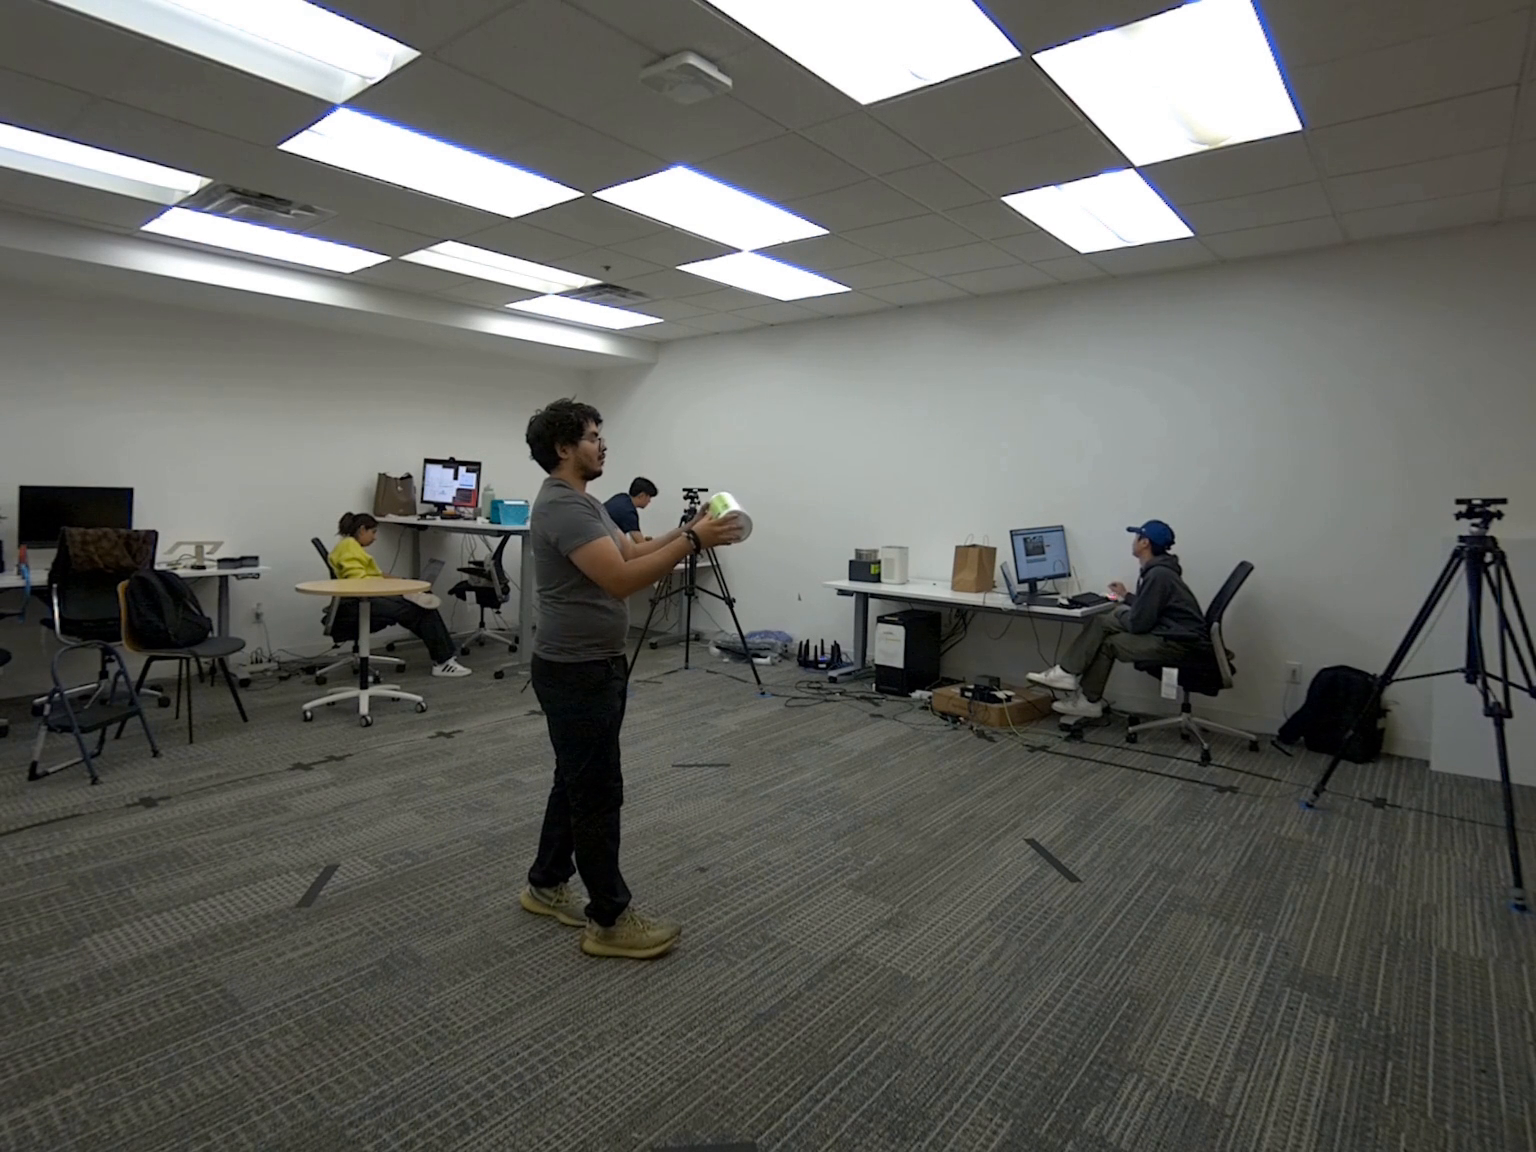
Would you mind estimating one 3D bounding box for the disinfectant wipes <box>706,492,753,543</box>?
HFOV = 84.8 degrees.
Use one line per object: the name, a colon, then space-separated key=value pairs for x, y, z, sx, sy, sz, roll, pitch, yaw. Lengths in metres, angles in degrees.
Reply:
disinfectant wipes: x=-0.136 y=-0.197 z=2.662 sx=0.117 sy=0.116 sz=0.222 roll=0 pitch=14 yaw=-9
